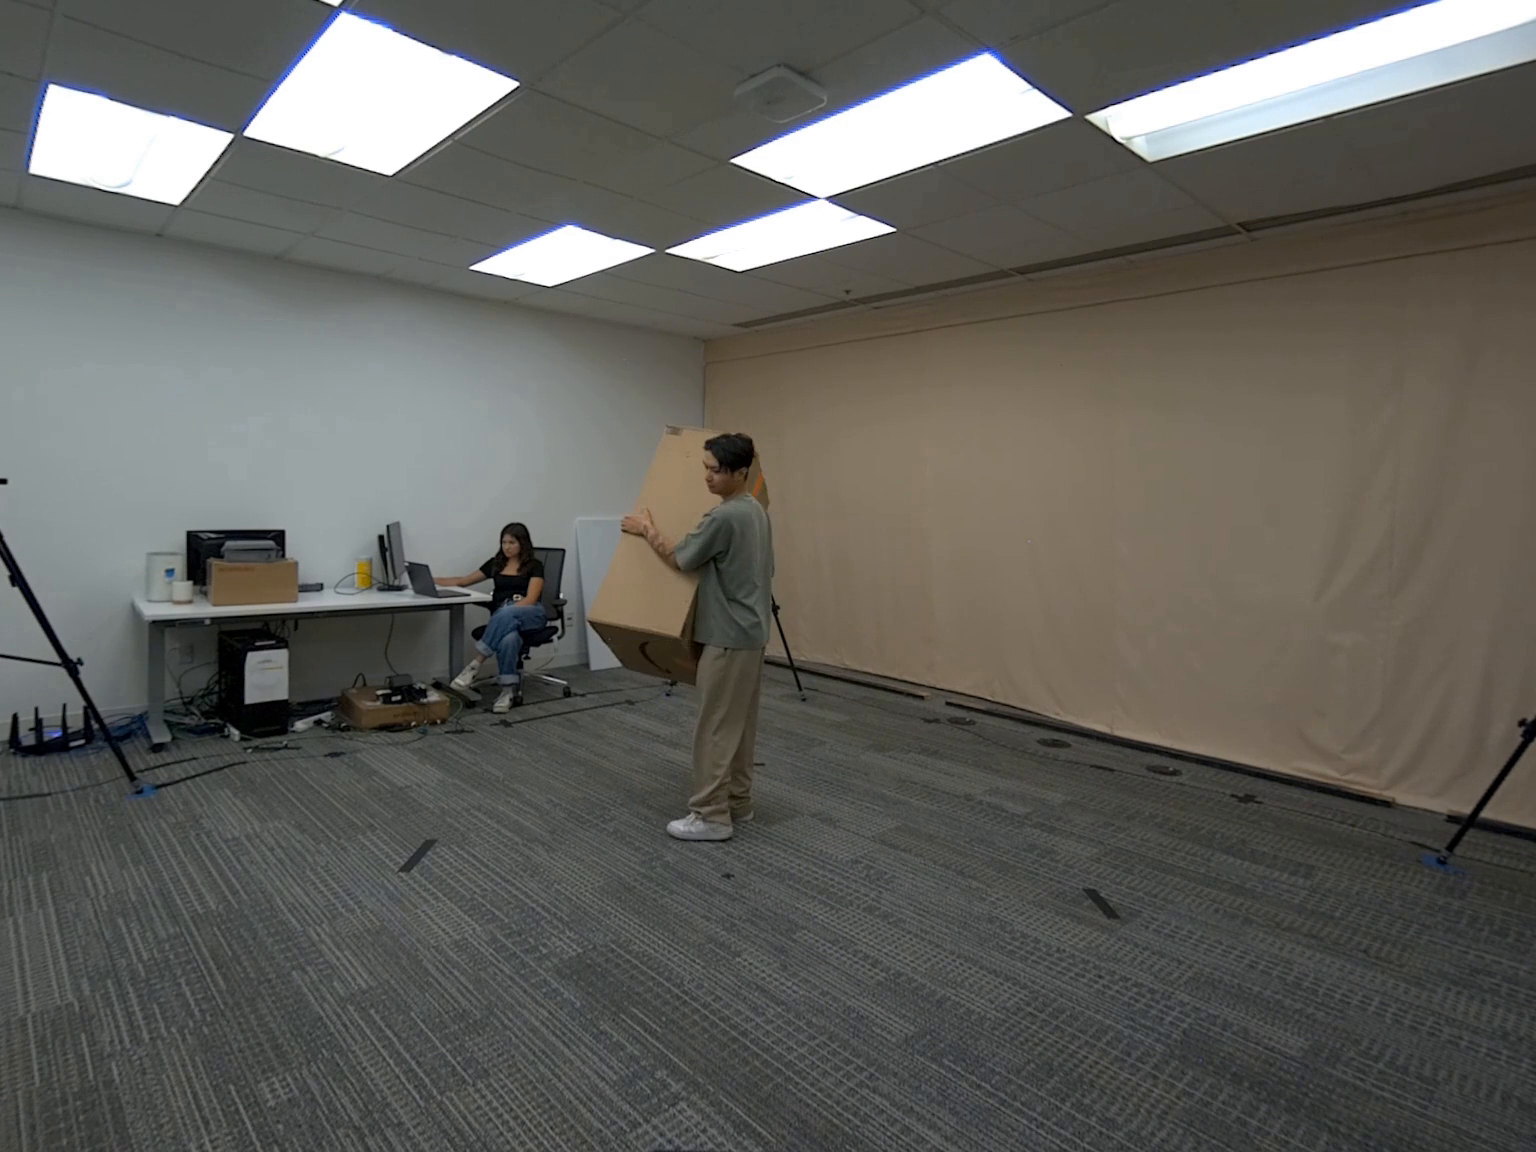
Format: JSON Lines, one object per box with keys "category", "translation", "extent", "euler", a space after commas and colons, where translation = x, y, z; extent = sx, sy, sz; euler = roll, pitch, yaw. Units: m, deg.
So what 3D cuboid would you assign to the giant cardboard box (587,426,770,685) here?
{"category": "giant cardboard box", "translation": [-0.378, -0.097, 3.875], "extent": [0.432, 1.036, 0.563], "euler": [10, -26, 16]}
